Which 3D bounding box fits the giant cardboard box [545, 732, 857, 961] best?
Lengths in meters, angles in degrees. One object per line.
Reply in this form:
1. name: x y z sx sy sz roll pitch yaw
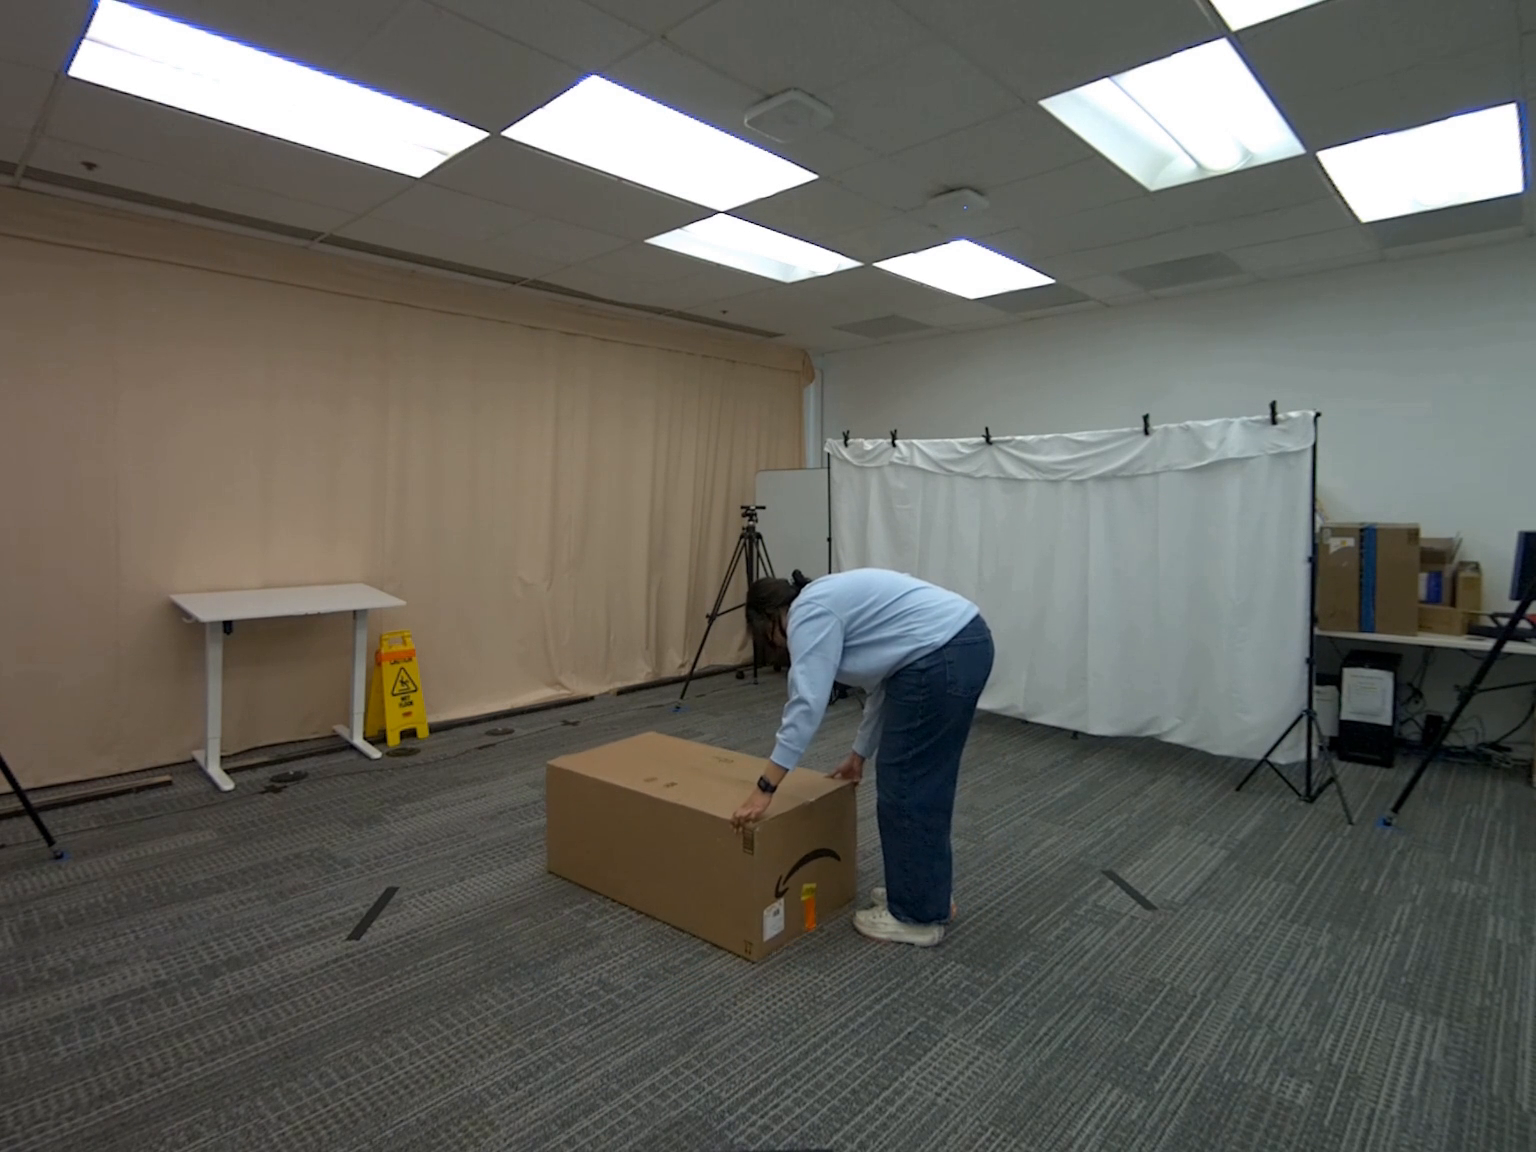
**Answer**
1. giant cardboard box: -0.270 0.926 3.095 1.060 0.425 0.560 4 5 40
